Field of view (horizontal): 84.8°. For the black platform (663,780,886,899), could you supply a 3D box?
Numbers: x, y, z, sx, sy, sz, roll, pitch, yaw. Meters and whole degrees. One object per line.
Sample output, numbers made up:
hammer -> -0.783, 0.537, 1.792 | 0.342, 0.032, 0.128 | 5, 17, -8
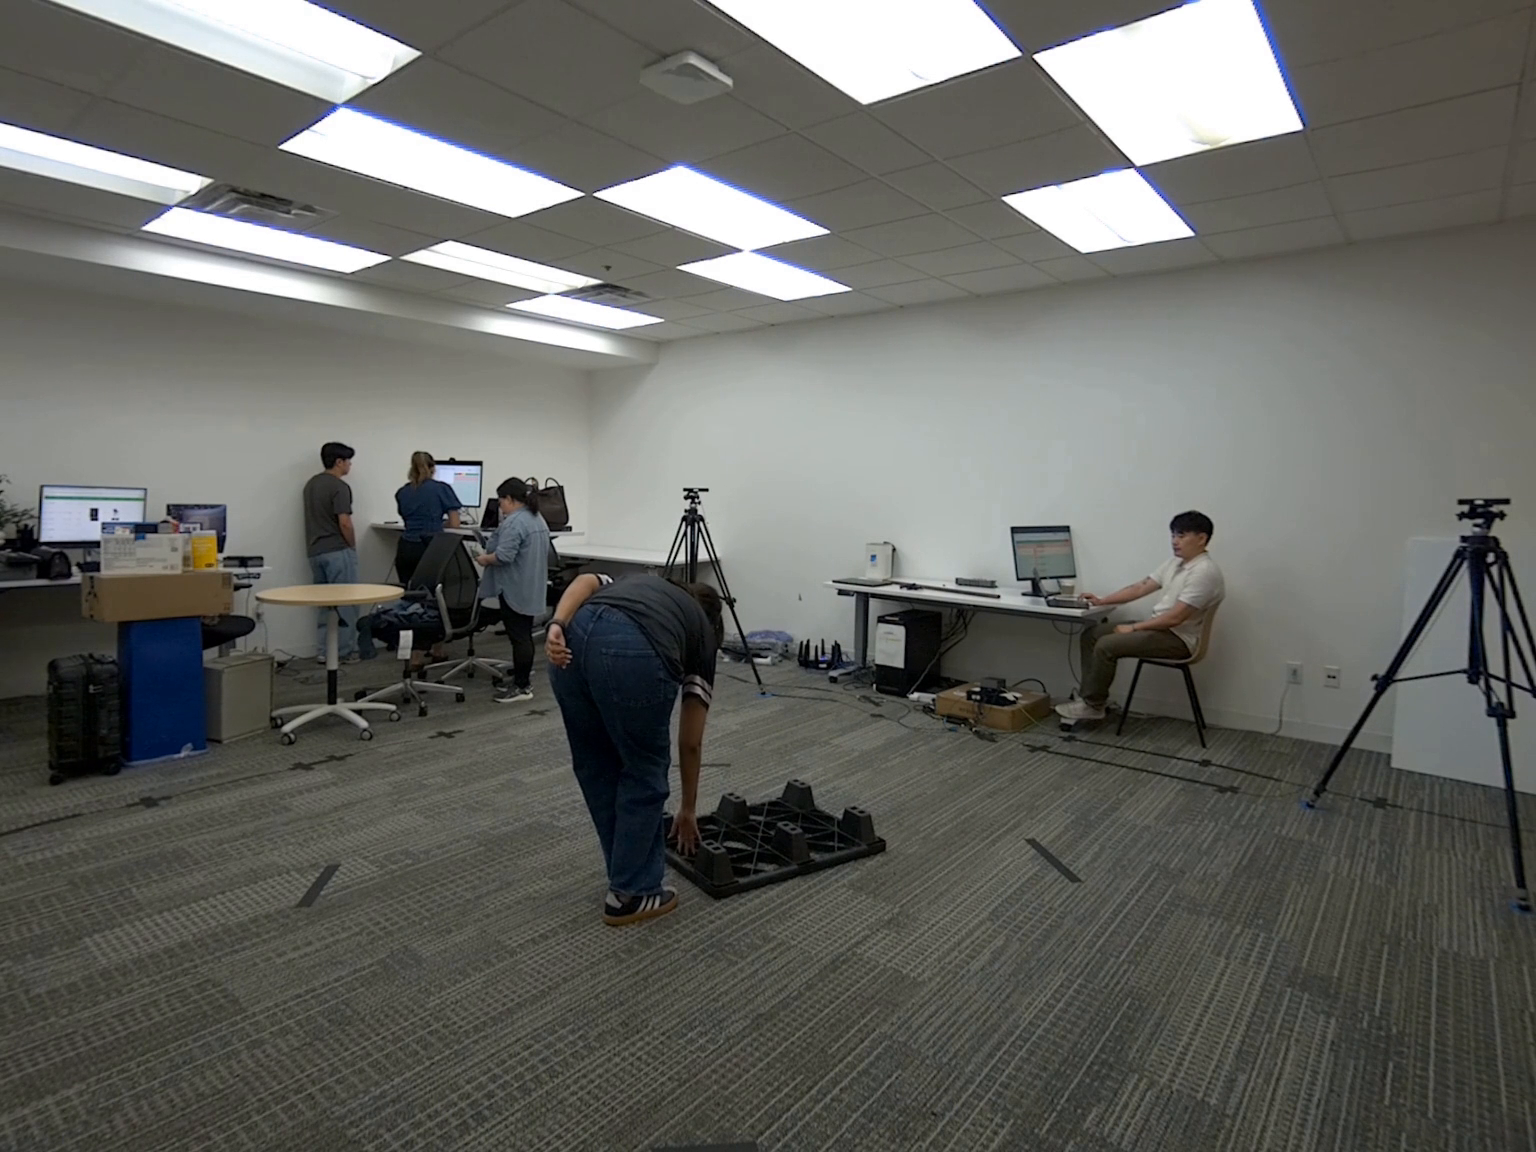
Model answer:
black platform -> -0.040, 0.985, 3.324 | 0.782, 0.143, 0.625 | -3, 7, -35
